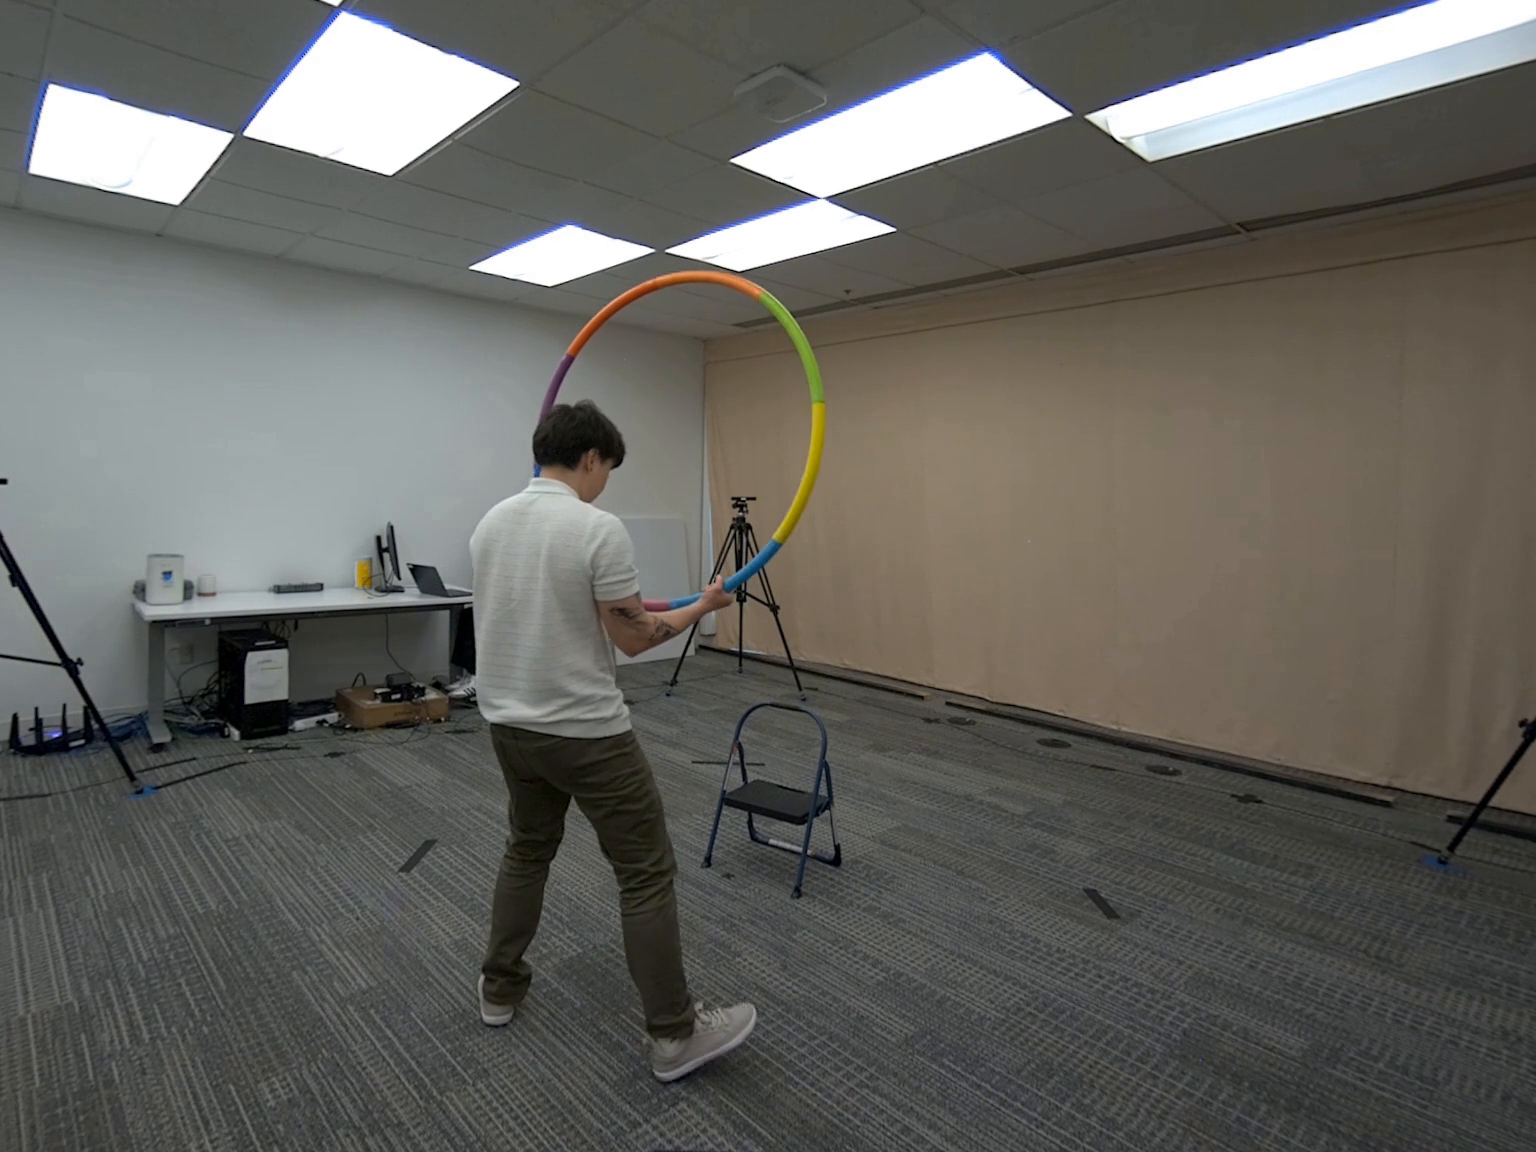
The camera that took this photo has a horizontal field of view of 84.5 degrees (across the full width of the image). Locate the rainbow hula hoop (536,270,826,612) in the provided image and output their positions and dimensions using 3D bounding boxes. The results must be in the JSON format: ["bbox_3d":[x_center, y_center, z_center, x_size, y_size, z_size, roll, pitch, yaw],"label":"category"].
[{"bbox_3d":[-0.292,-0.386,2.388,1.000,0.982,0.034,4,-6,30],"label":"rainbow hula hoop"}]
